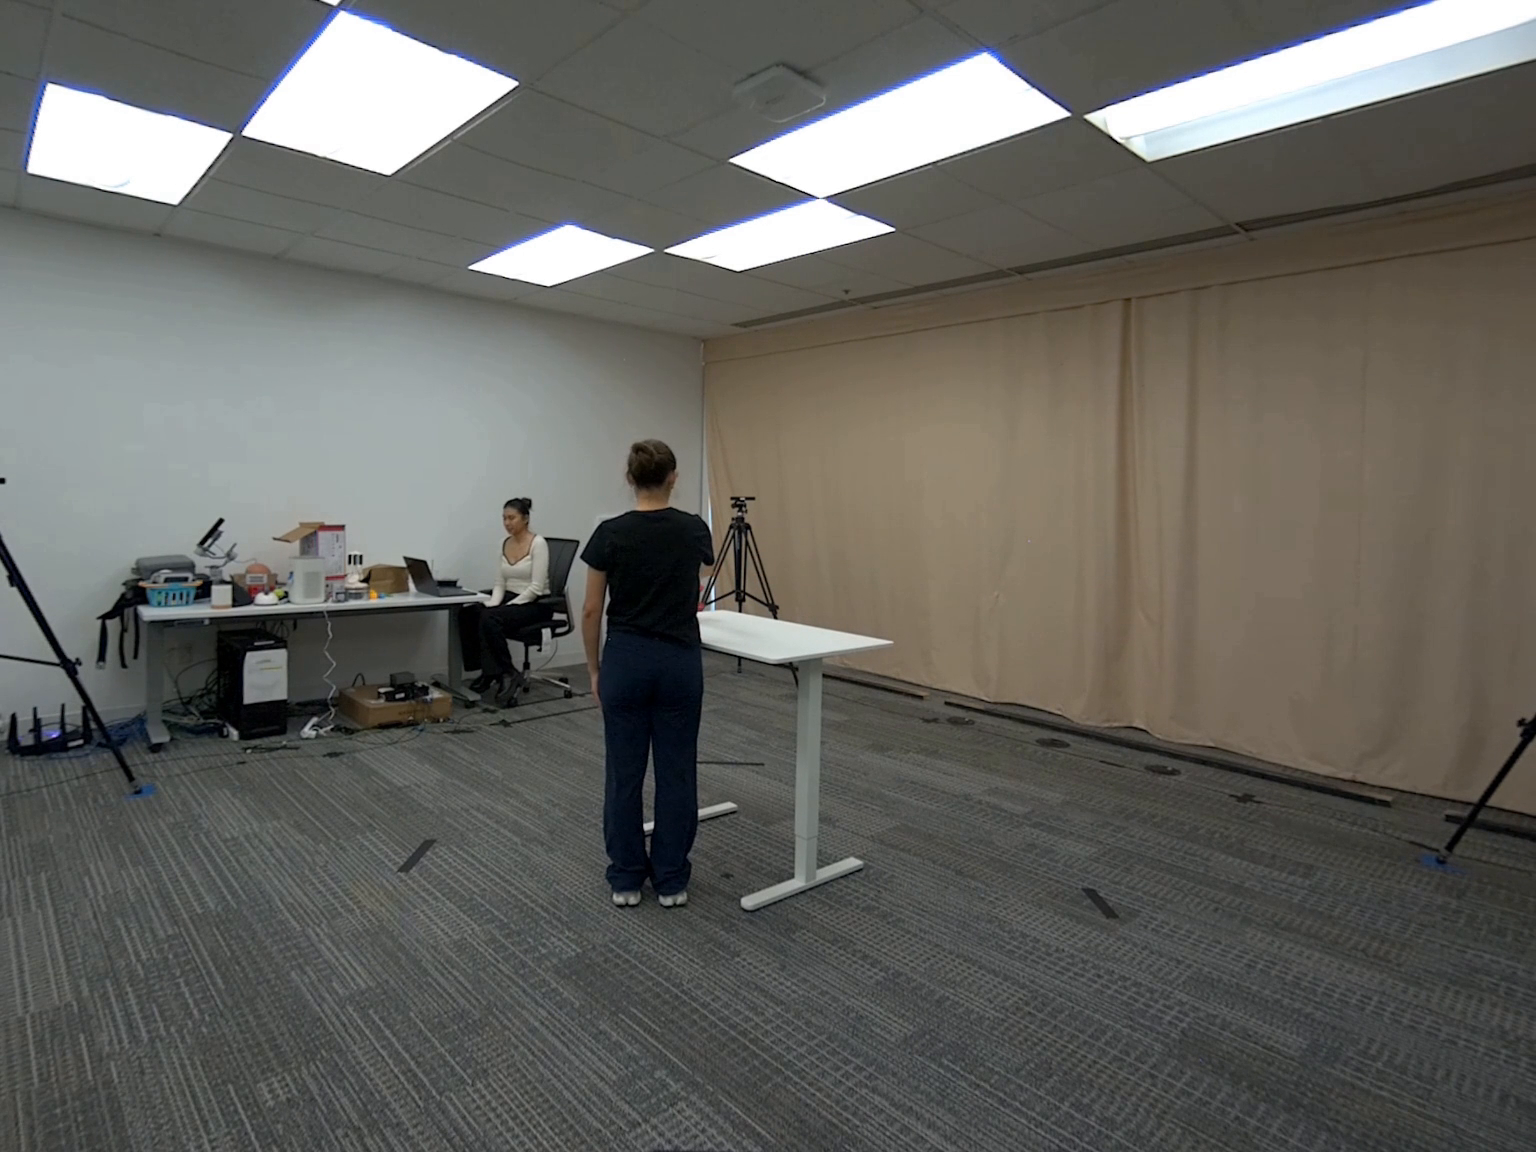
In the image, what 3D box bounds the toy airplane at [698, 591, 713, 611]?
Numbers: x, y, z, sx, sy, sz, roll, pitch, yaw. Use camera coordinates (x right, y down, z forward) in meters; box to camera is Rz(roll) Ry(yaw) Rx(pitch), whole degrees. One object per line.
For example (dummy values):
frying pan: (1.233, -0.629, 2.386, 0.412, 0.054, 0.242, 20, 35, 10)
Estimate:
toy airplane: (-0.383, 0.114, 3.441, 0.247, 0.156, 0.263, 1, 4, -19)
